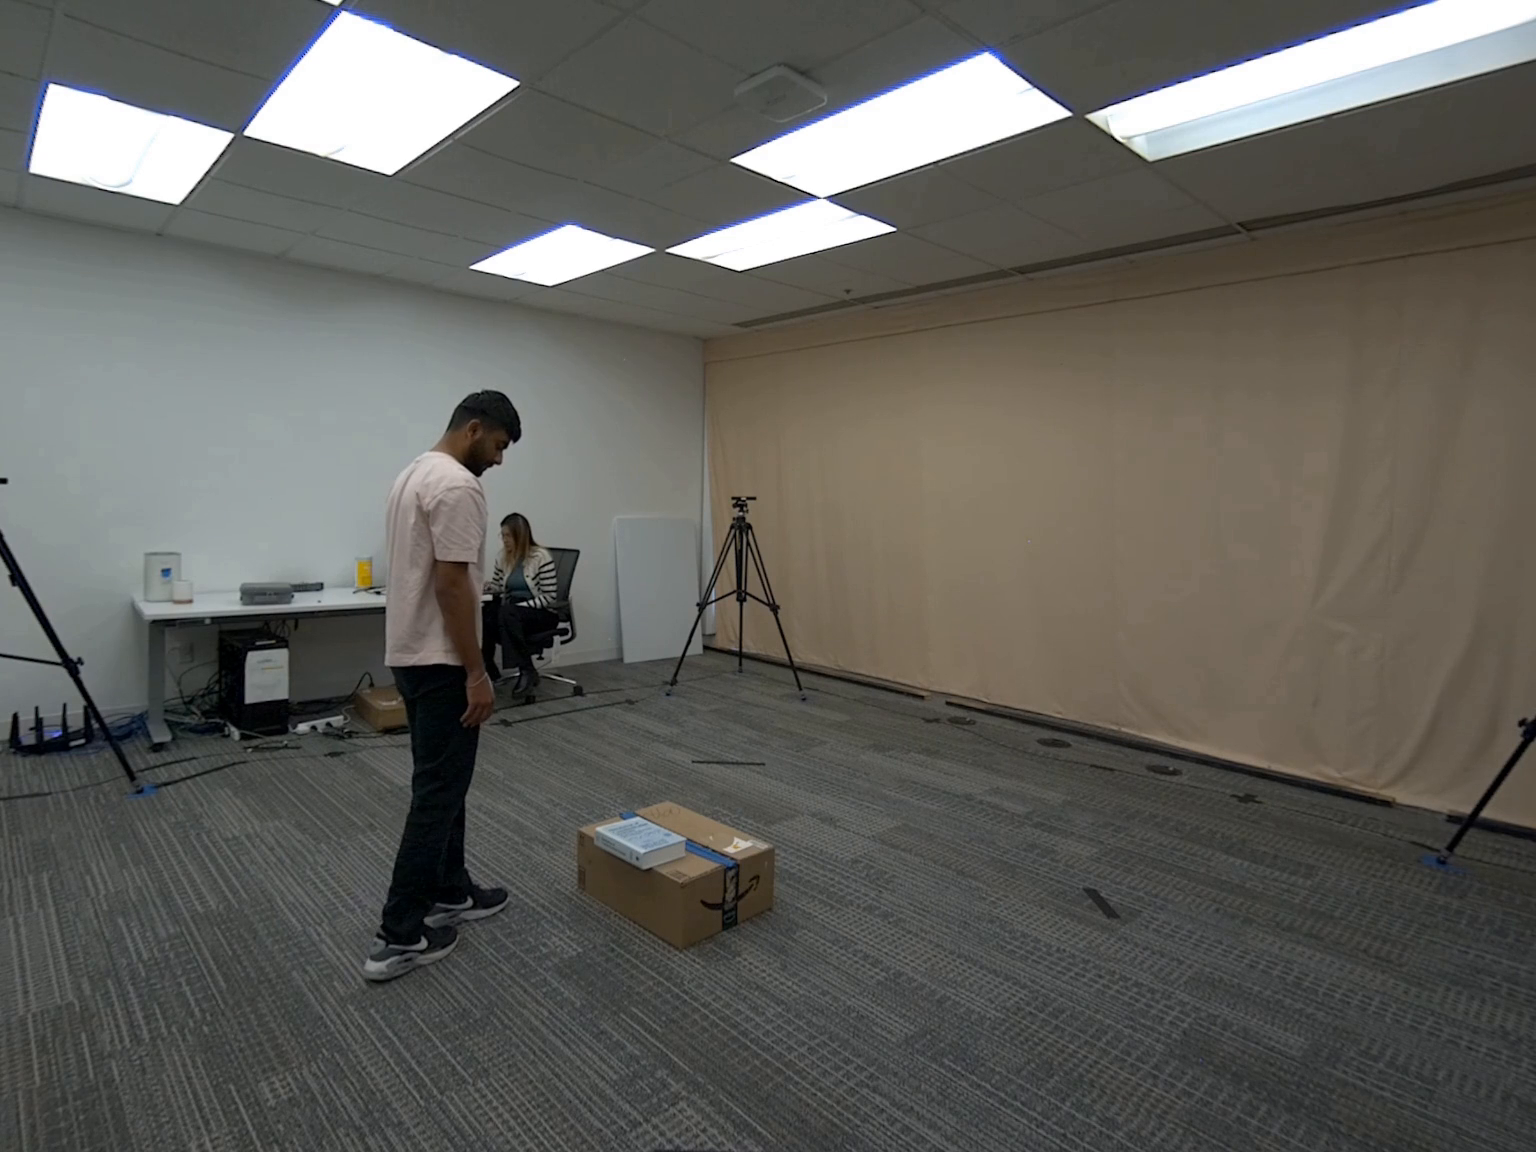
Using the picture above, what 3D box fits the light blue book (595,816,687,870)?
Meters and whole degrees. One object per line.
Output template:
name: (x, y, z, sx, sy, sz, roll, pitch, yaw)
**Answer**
light blue book: (-0.432, 0.884, 2.801, 0.268, 0.059, 0.187, 6, 5, 45)
